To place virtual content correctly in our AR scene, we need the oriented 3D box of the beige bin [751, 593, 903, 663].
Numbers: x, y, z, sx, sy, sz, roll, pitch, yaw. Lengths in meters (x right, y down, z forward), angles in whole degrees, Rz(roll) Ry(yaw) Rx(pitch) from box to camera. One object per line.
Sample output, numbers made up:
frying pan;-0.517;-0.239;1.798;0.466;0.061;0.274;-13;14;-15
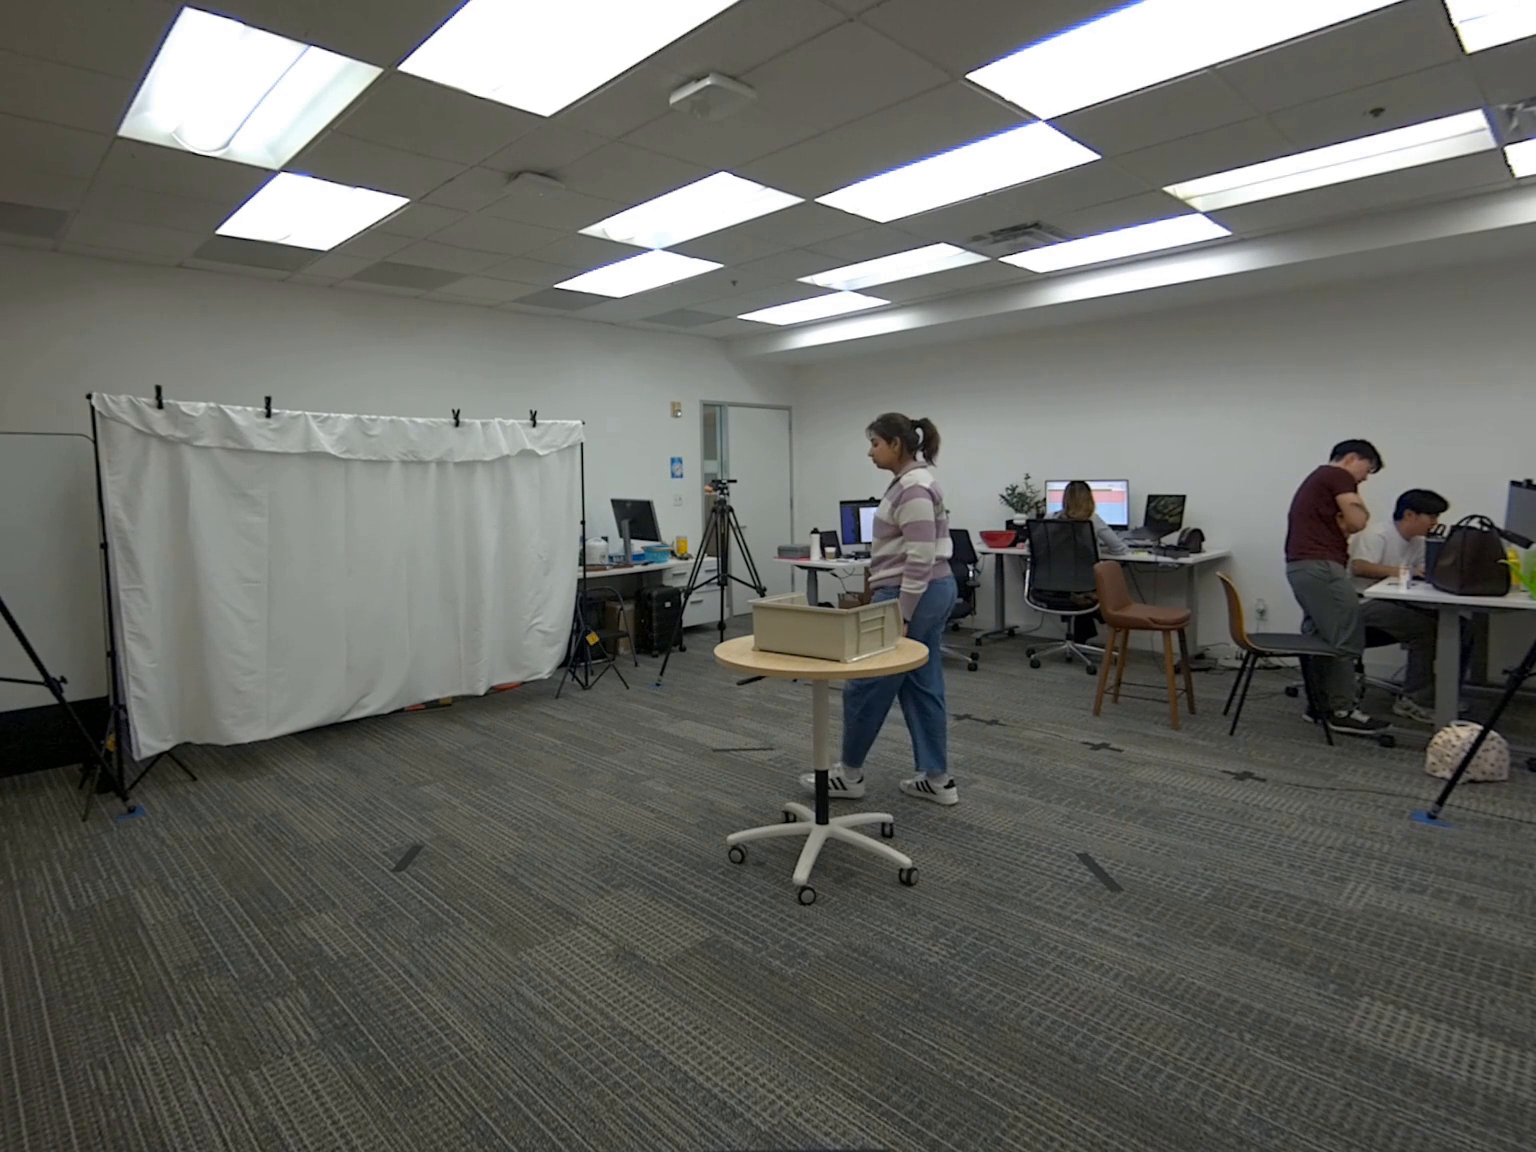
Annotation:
beige bin;0.207;0.176;3.068;0.435;0.188;0.368;4;9;39
